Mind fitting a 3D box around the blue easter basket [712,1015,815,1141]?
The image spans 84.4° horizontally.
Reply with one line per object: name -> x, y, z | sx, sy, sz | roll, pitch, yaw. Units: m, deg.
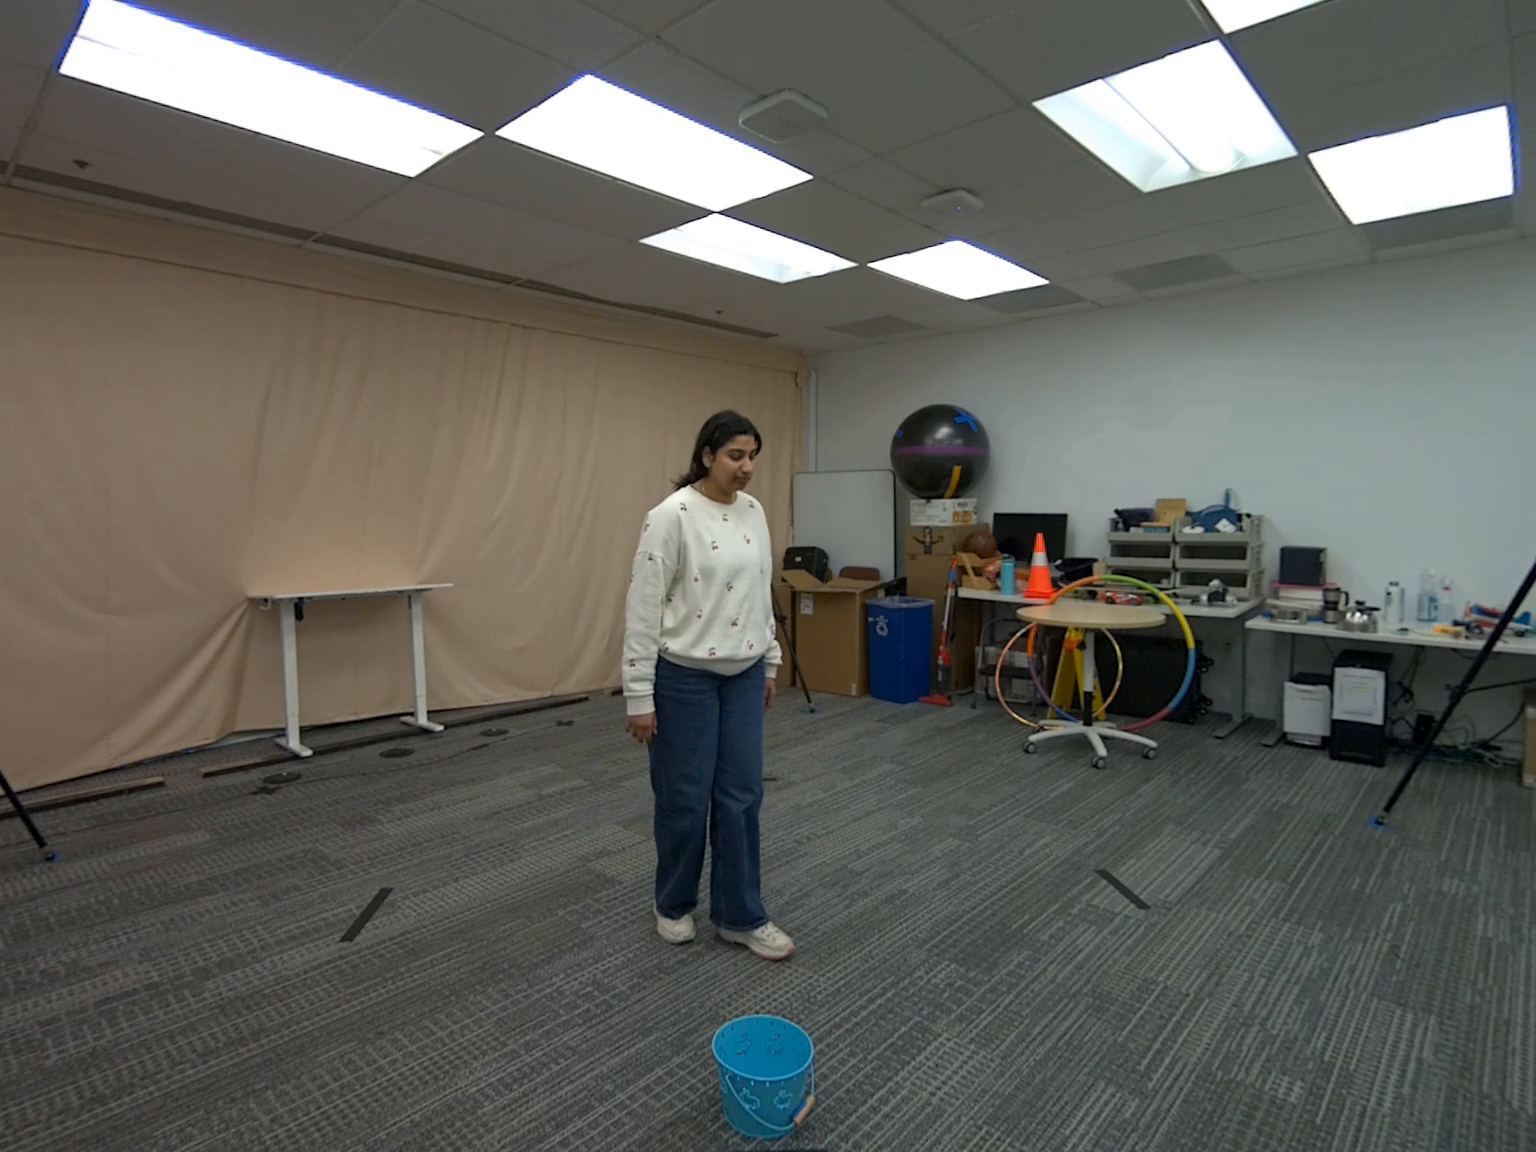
blue easter basket -> -0.007, 1.154, 1.945 | 0.243, 0.155, 0.244 | 0, 4, -2
